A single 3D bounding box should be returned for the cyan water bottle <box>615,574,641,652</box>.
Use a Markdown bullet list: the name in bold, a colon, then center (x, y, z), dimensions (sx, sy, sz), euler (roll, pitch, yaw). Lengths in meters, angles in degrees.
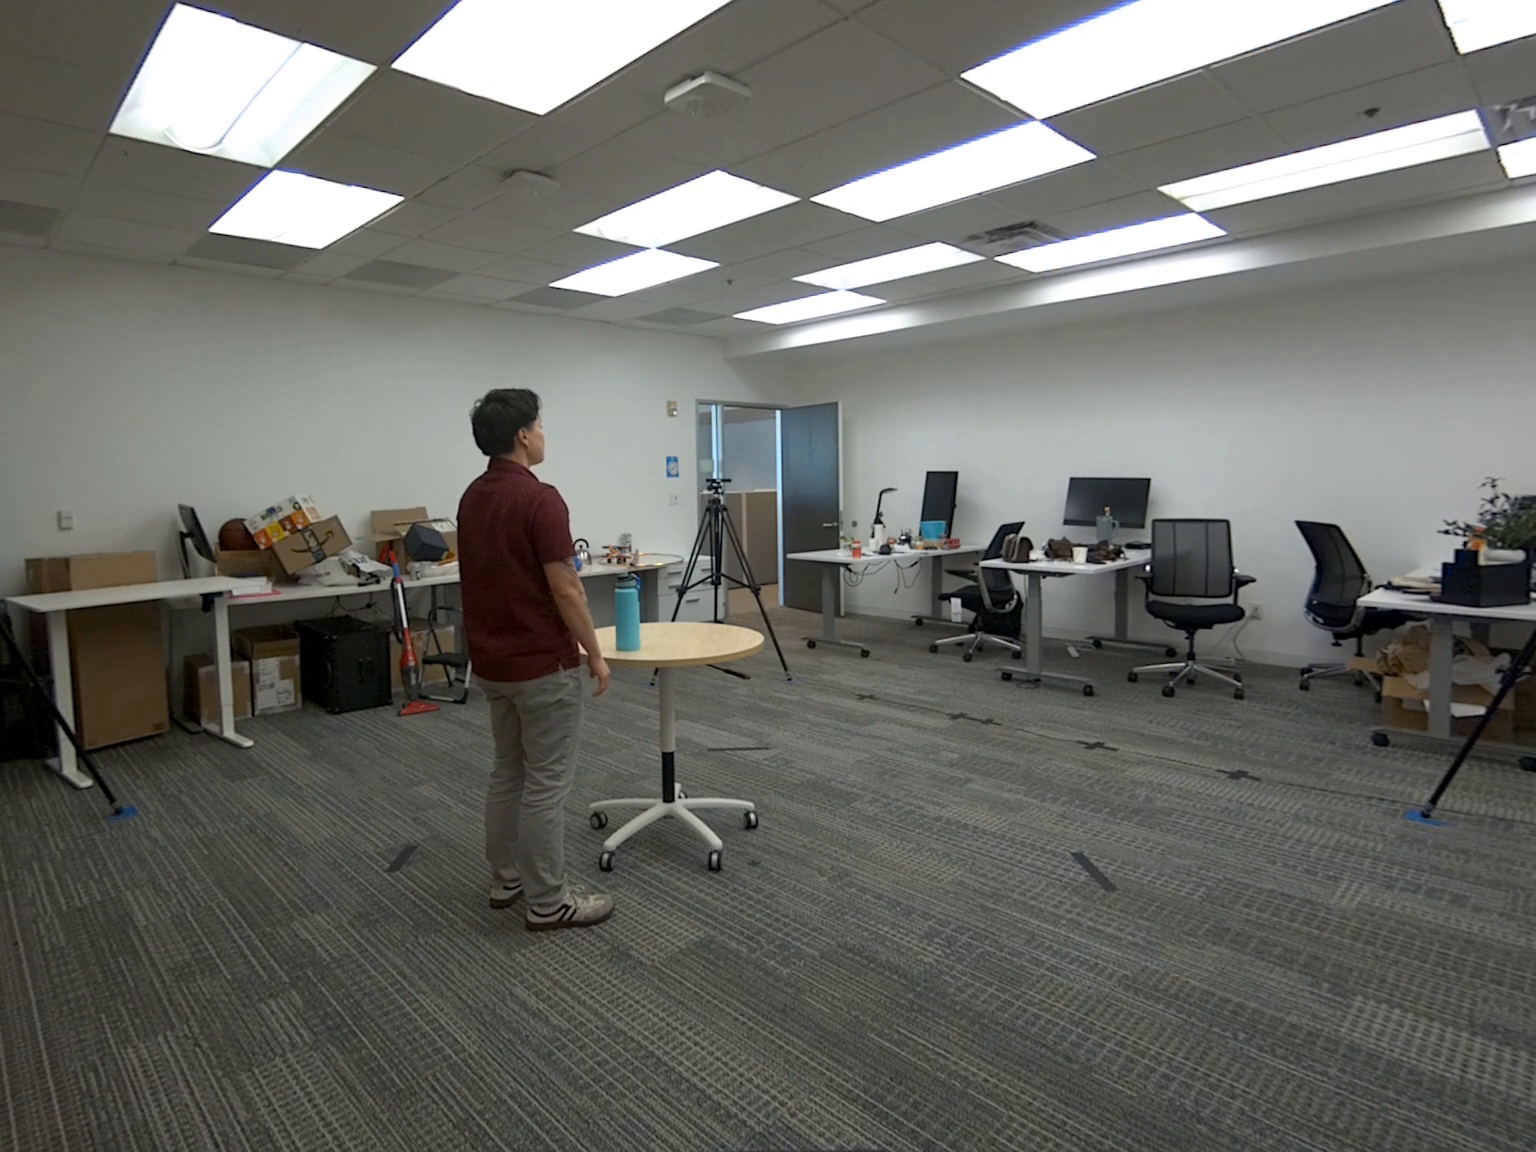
- **cyan water bottle**: center (-0.517, 0.128, 3.115), dimensions (0.092, 0.282, 0.093), euler (-1, 3, -2)
